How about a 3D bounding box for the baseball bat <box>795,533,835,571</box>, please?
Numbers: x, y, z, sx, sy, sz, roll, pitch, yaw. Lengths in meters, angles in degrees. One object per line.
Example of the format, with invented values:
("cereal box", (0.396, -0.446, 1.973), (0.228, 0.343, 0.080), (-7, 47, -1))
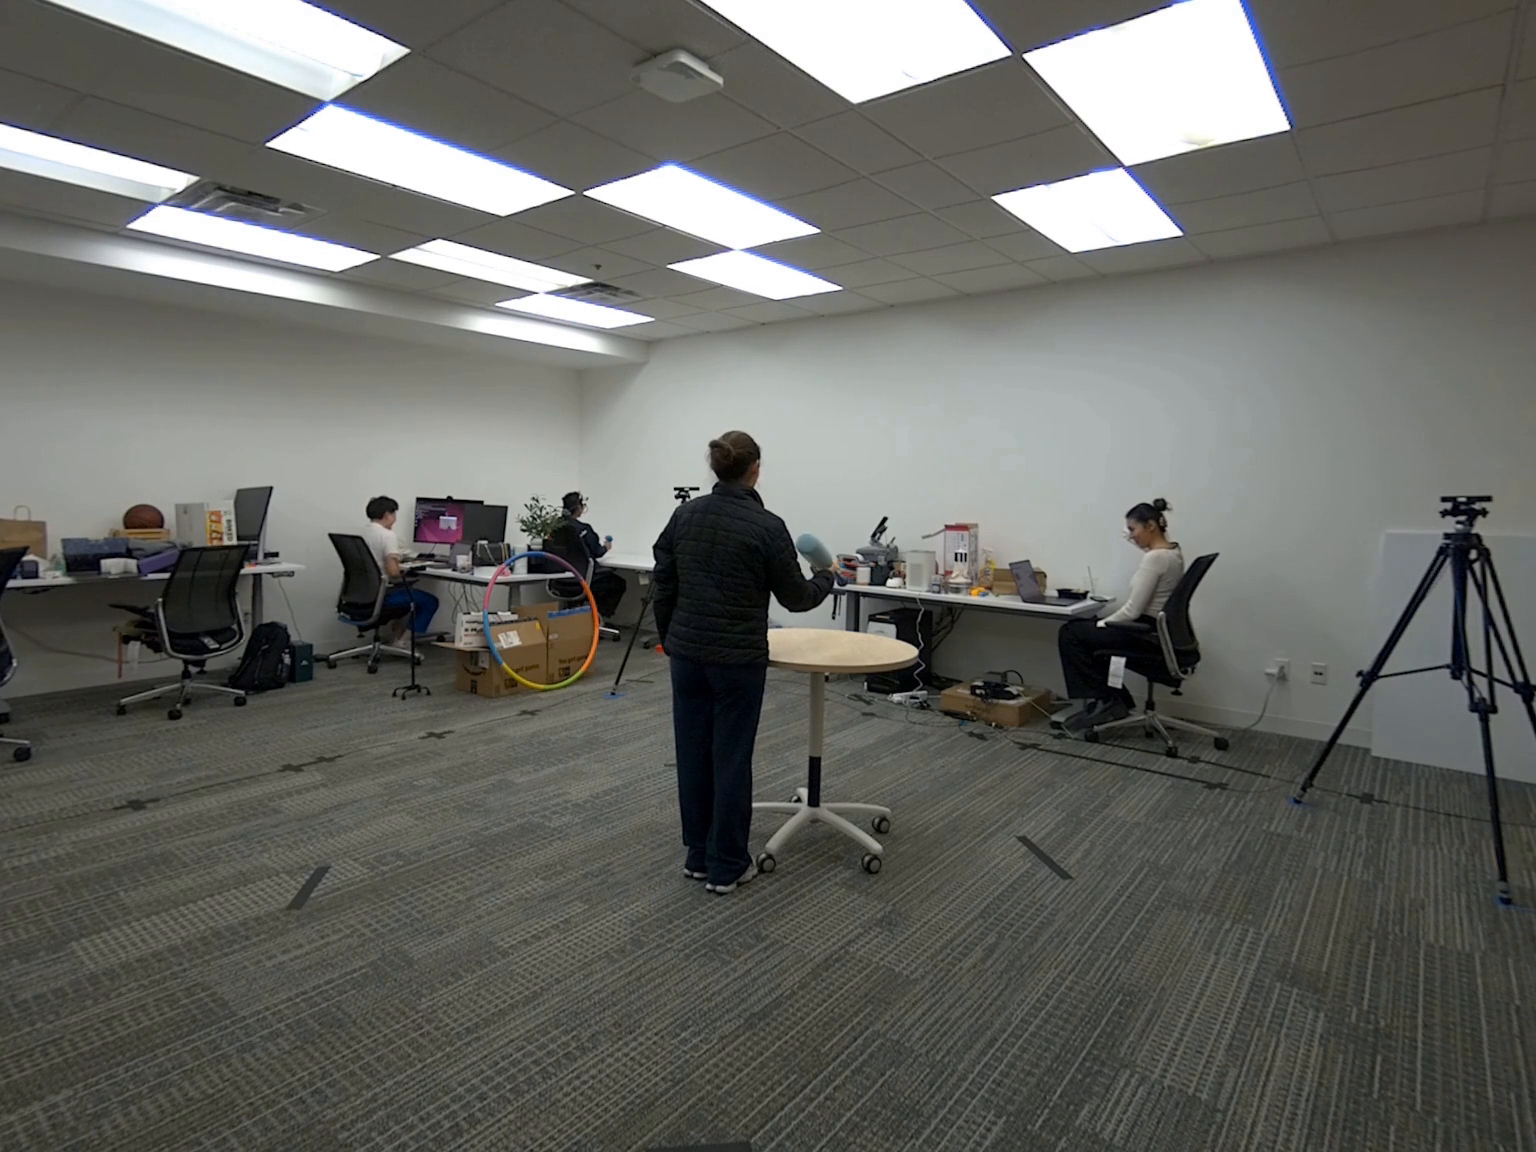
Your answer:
("baseball bat", (0.241, -0.046, 3.371), (0.091, 0.090, 0.523), (3, -17, 23))
